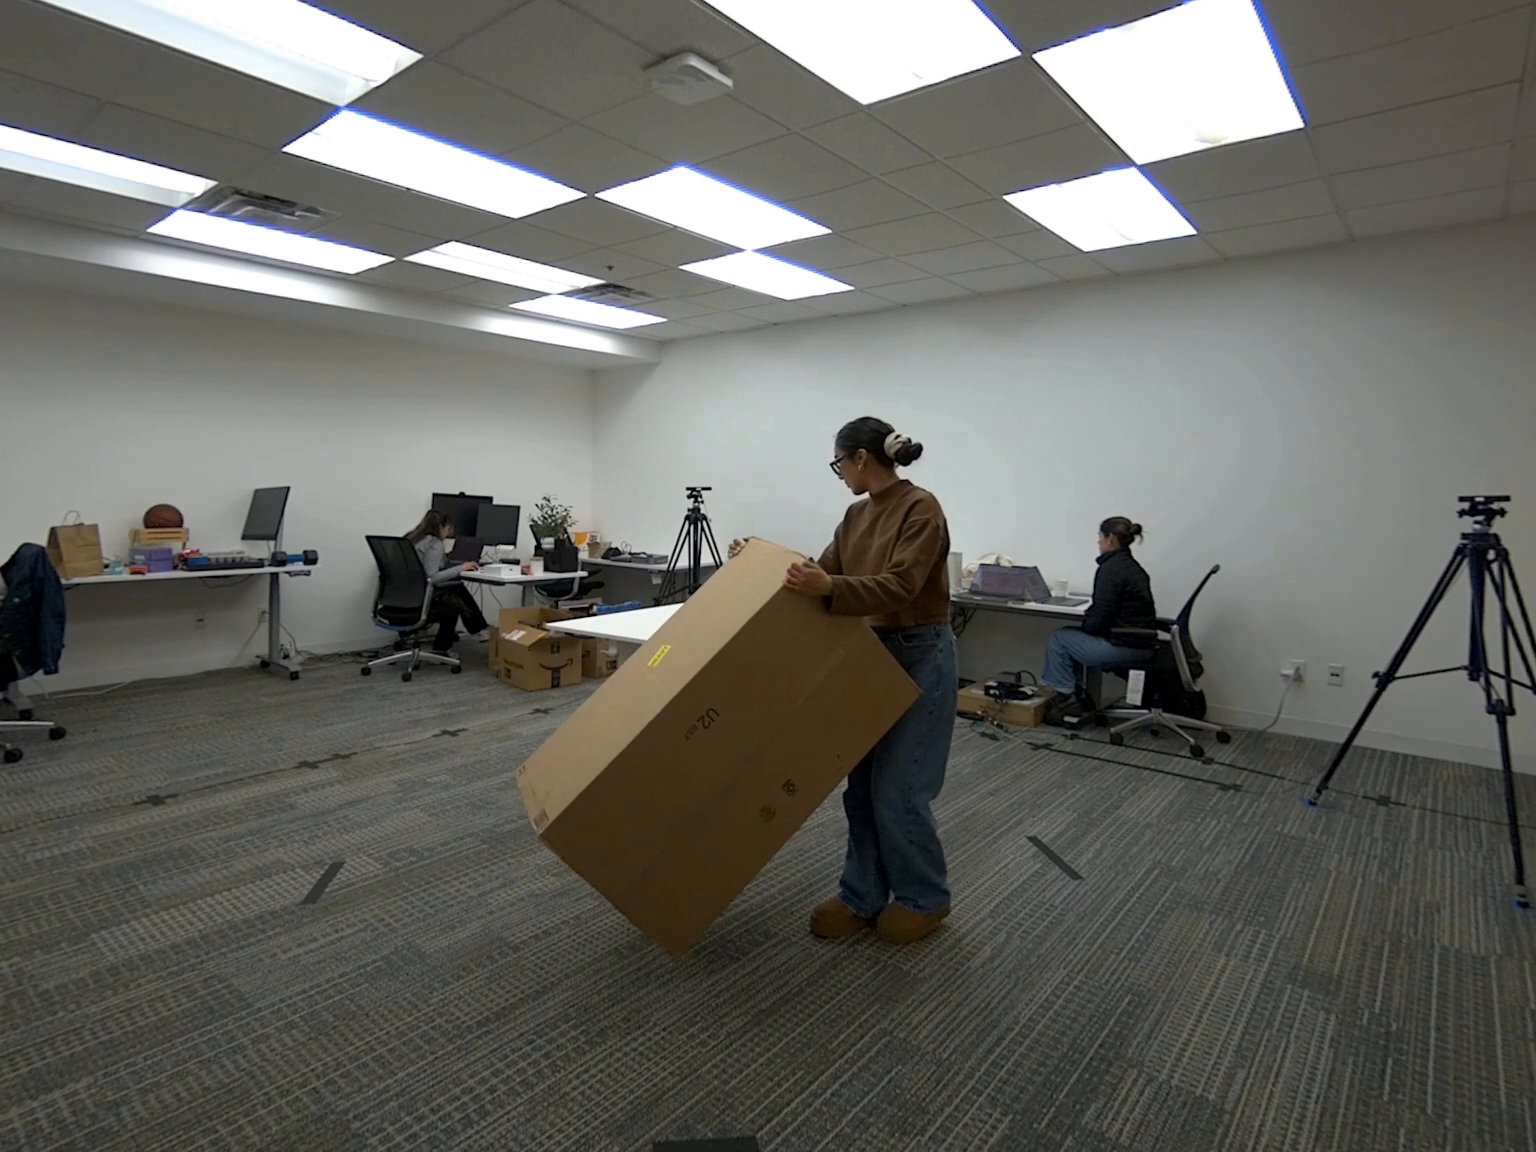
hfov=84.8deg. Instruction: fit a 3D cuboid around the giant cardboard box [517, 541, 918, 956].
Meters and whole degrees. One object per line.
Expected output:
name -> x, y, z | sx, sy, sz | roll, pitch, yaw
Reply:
giant cardboard box -> -0.160, 0.473, 2.513 | 1.025, 0.562, 0.438 | -45, 21, -9
